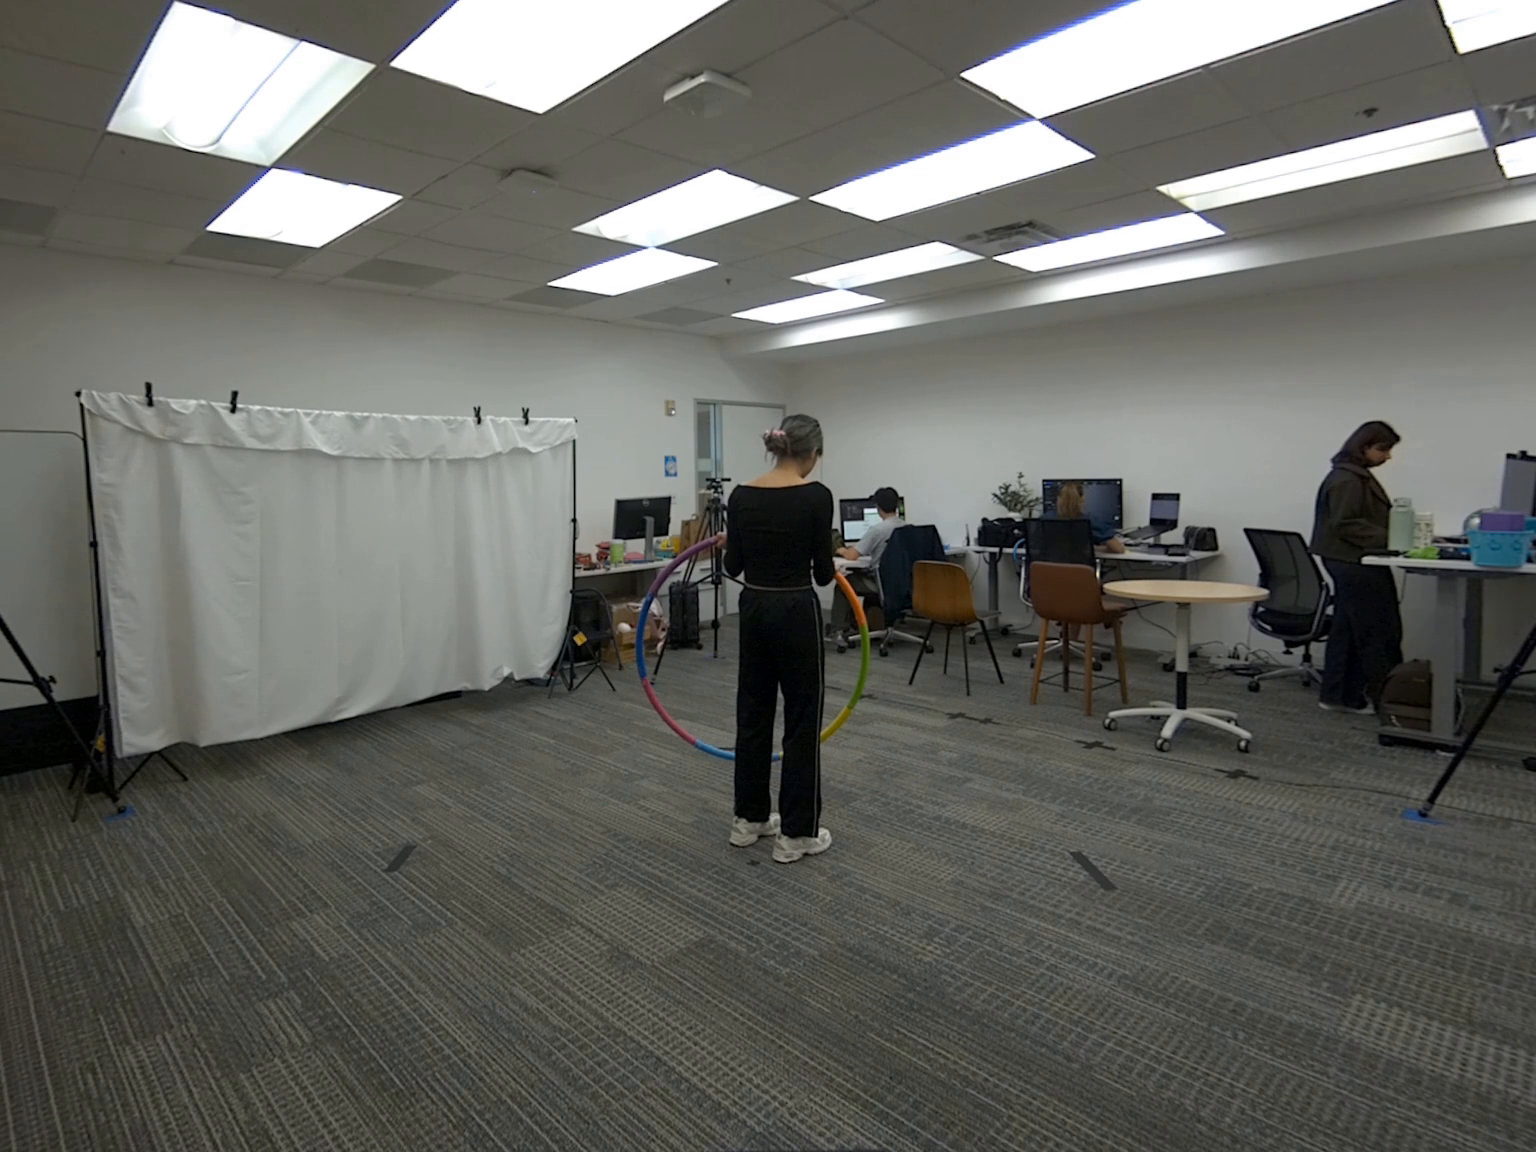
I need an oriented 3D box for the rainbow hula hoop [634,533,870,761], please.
[{"bbox_3d":[-0.071,0.312,3.537,0.986,0.968,0.035,0,11,8],"label":"rainbow hula hoop"}]
